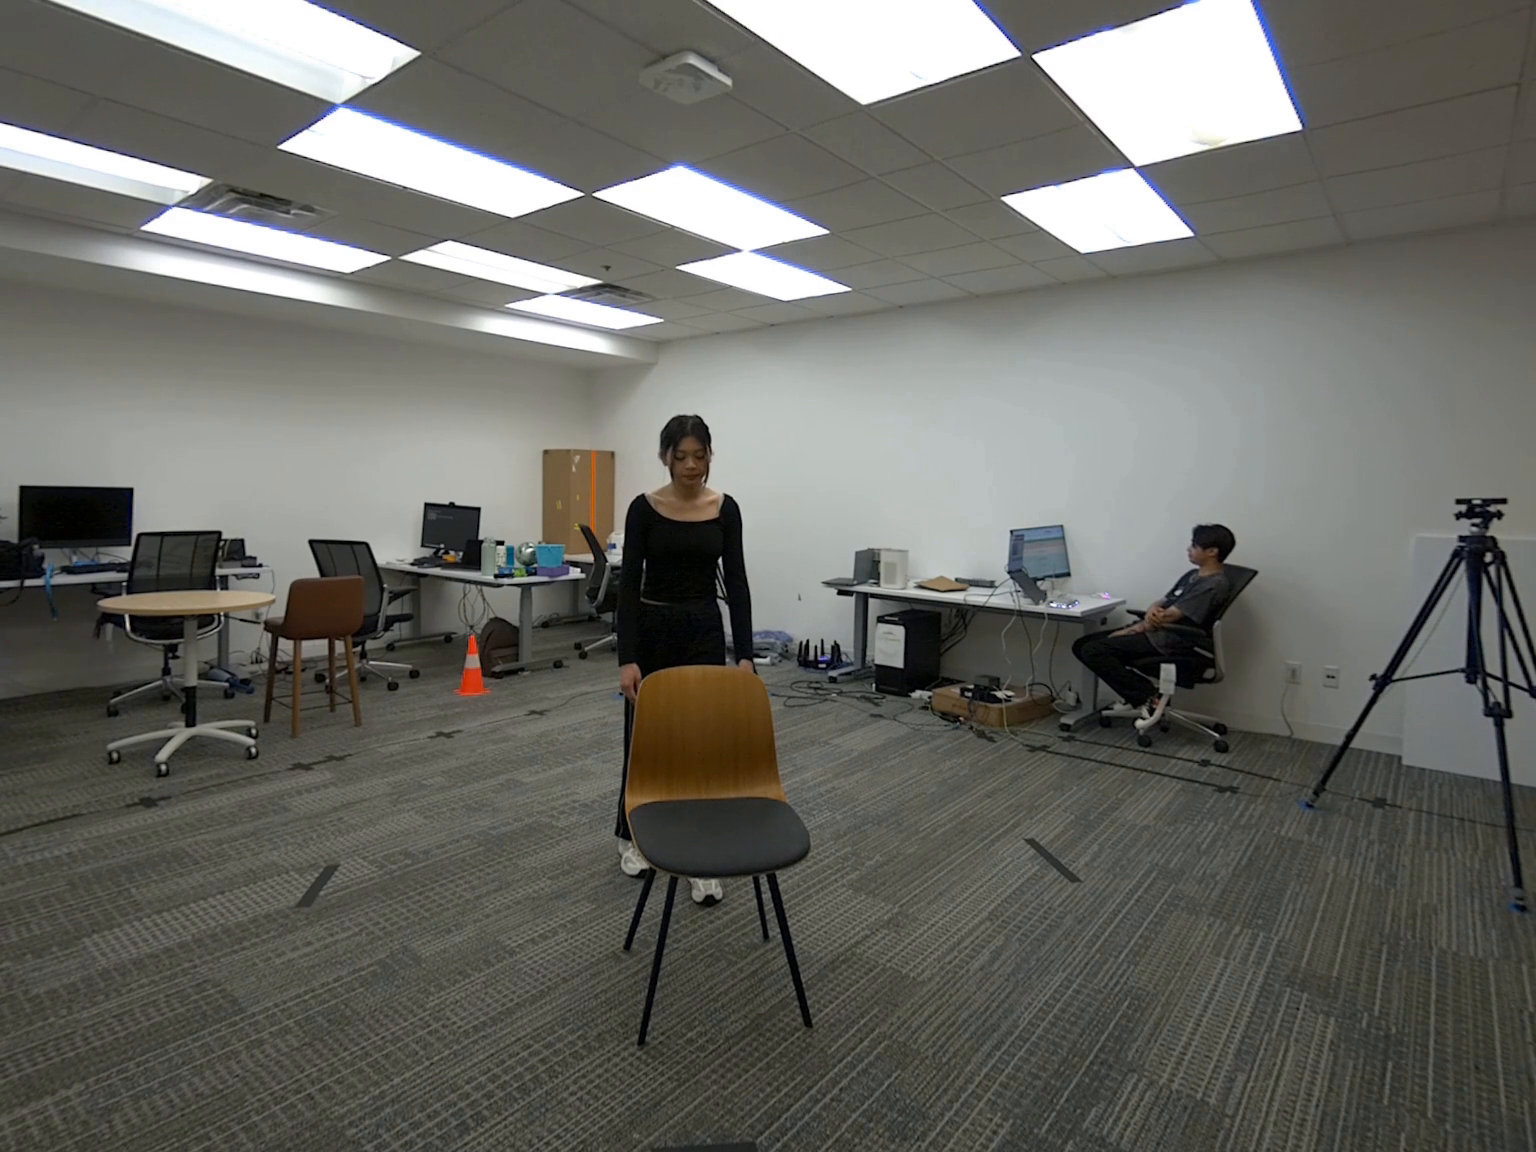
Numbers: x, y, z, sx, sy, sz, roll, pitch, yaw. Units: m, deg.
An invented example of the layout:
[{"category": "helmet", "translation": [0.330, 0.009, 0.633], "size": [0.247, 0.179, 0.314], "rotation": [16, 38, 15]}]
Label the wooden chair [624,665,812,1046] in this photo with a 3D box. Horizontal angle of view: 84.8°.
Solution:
[{"category": "wooden chair", "translation": [-0.149, 0.714, 2.343], "size": [0.472, 0.878, 0.530], "rotation": [1, -1, -13]}]
